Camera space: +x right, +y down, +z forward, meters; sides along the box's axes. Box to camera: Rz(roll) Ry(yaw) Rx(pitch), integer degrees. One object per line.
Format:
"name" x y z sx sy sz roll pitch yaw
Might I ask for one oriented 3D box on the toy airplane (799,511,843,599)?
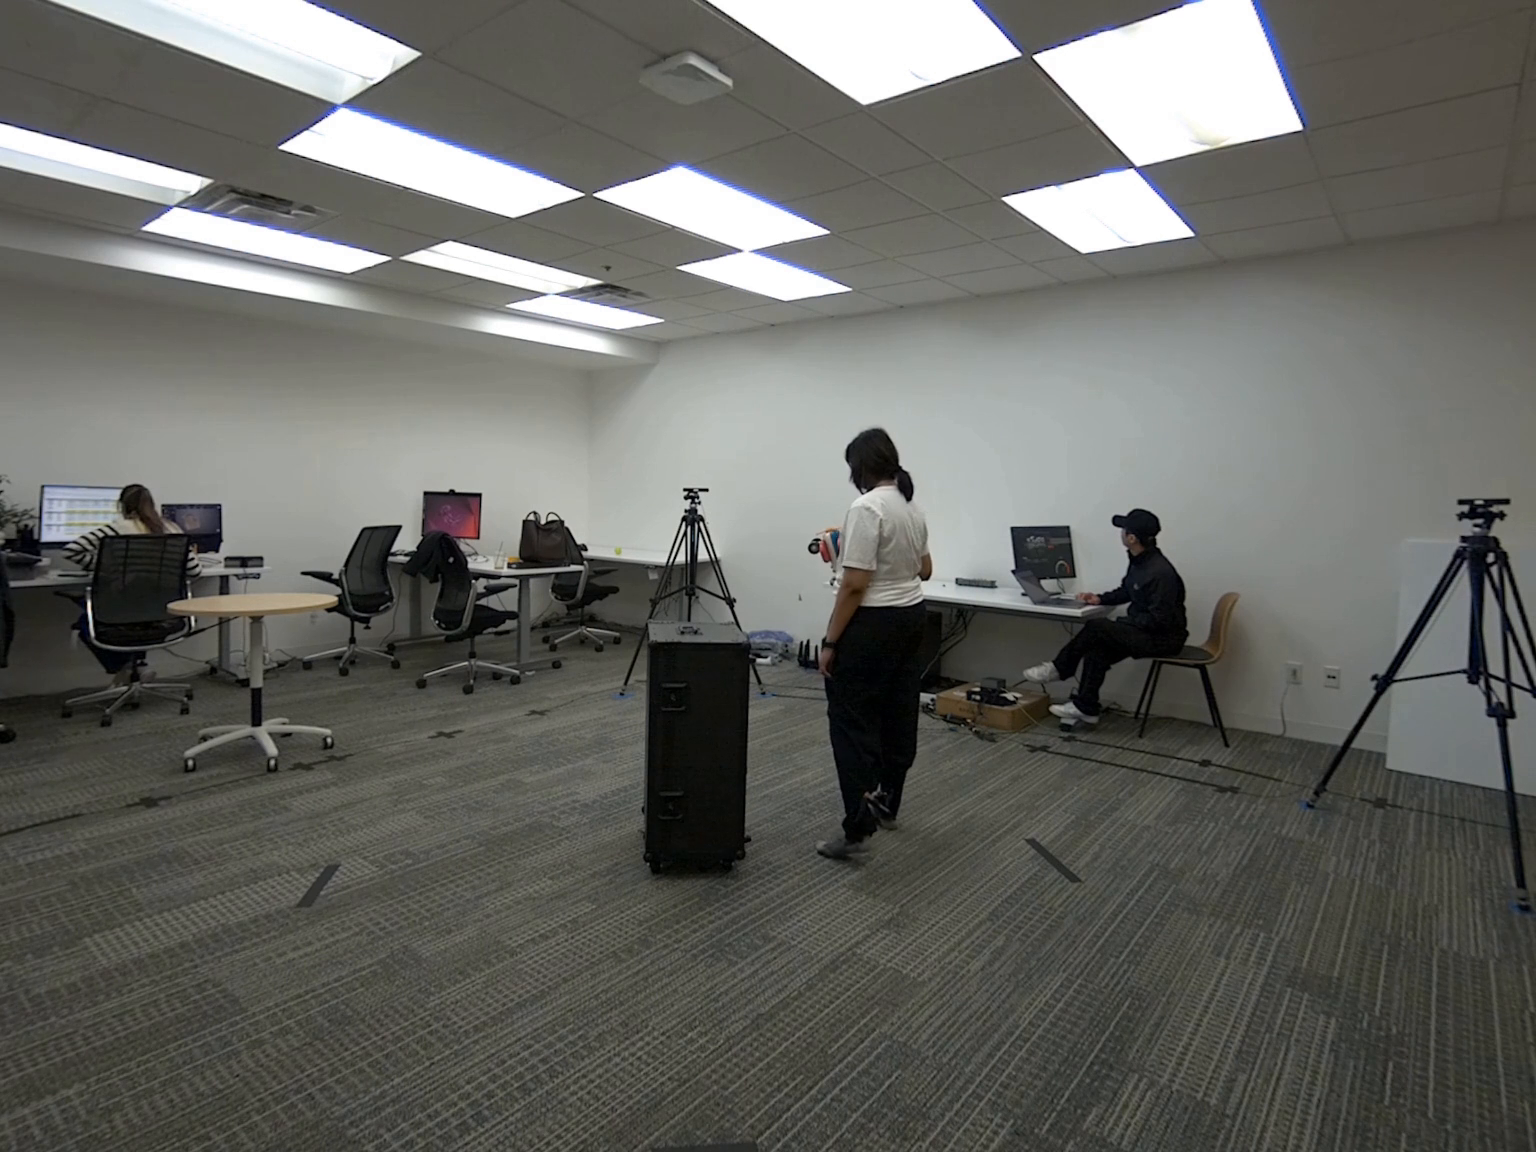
"toy airplane" 0.284 -0.090 3.699 0.157 0.250 0.258 -31 32 19
